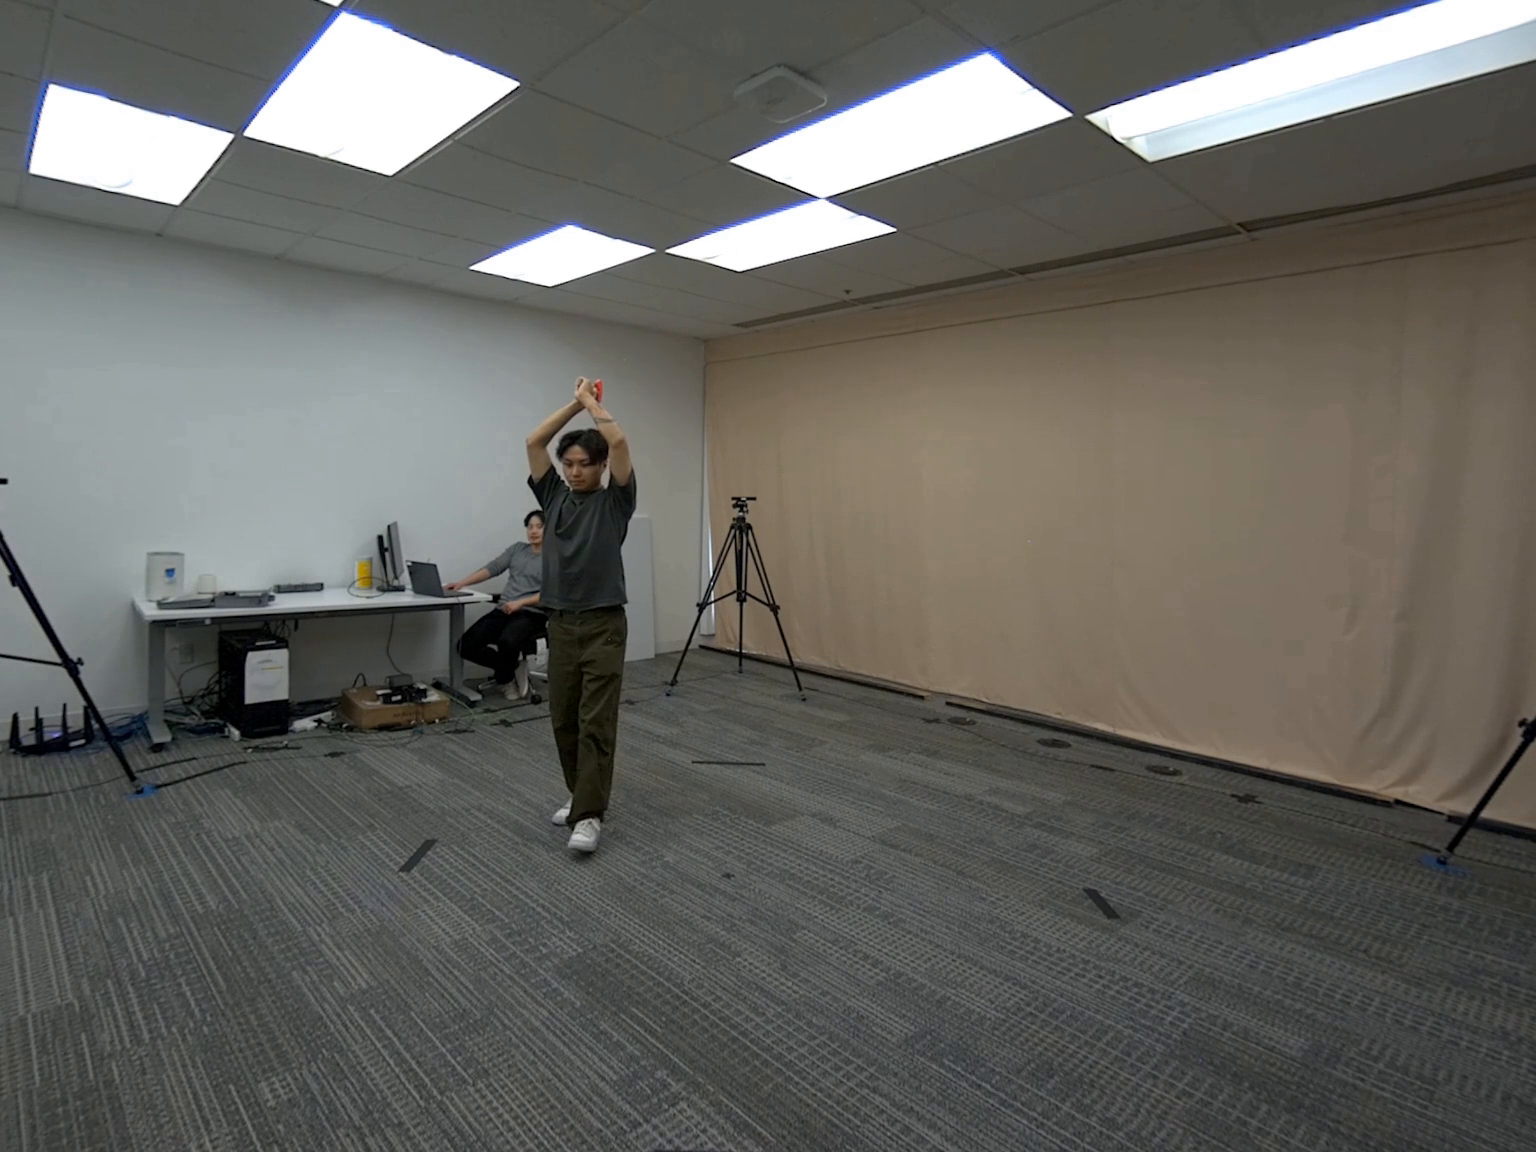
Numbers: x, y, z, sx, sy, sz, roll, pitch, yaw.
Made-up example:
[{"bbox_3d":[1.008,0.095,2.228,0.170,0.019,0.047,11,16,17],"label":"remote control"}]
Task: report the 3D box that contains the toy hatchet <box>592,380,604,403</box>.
[{"bbox_3d":[-0.750,-0.804,3.542,0.030,0.132,0.266,13,-11,9],"label":"toy hatchet"}]
